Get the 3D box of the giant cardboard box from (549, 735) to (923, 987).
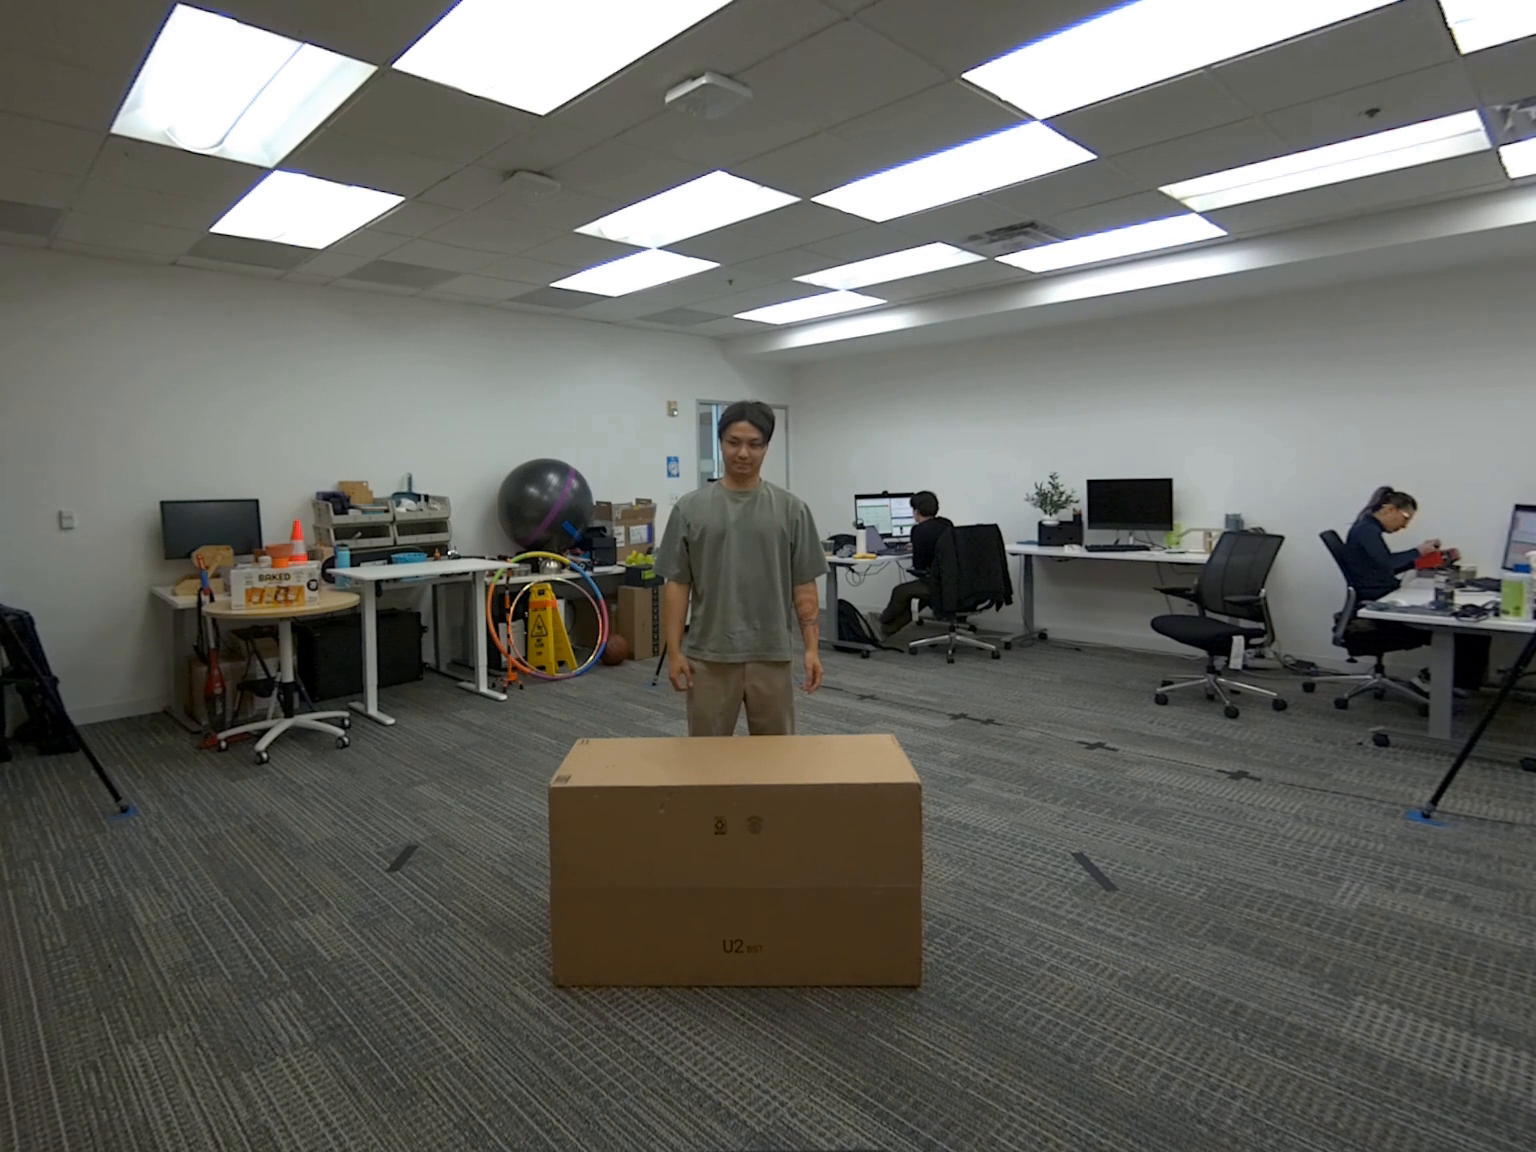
[{"bbox_3d":[-0.094,0.817,2.541,1.027,0.576,0.427,-1,4,1],"label":"giant cardboard box"}]
